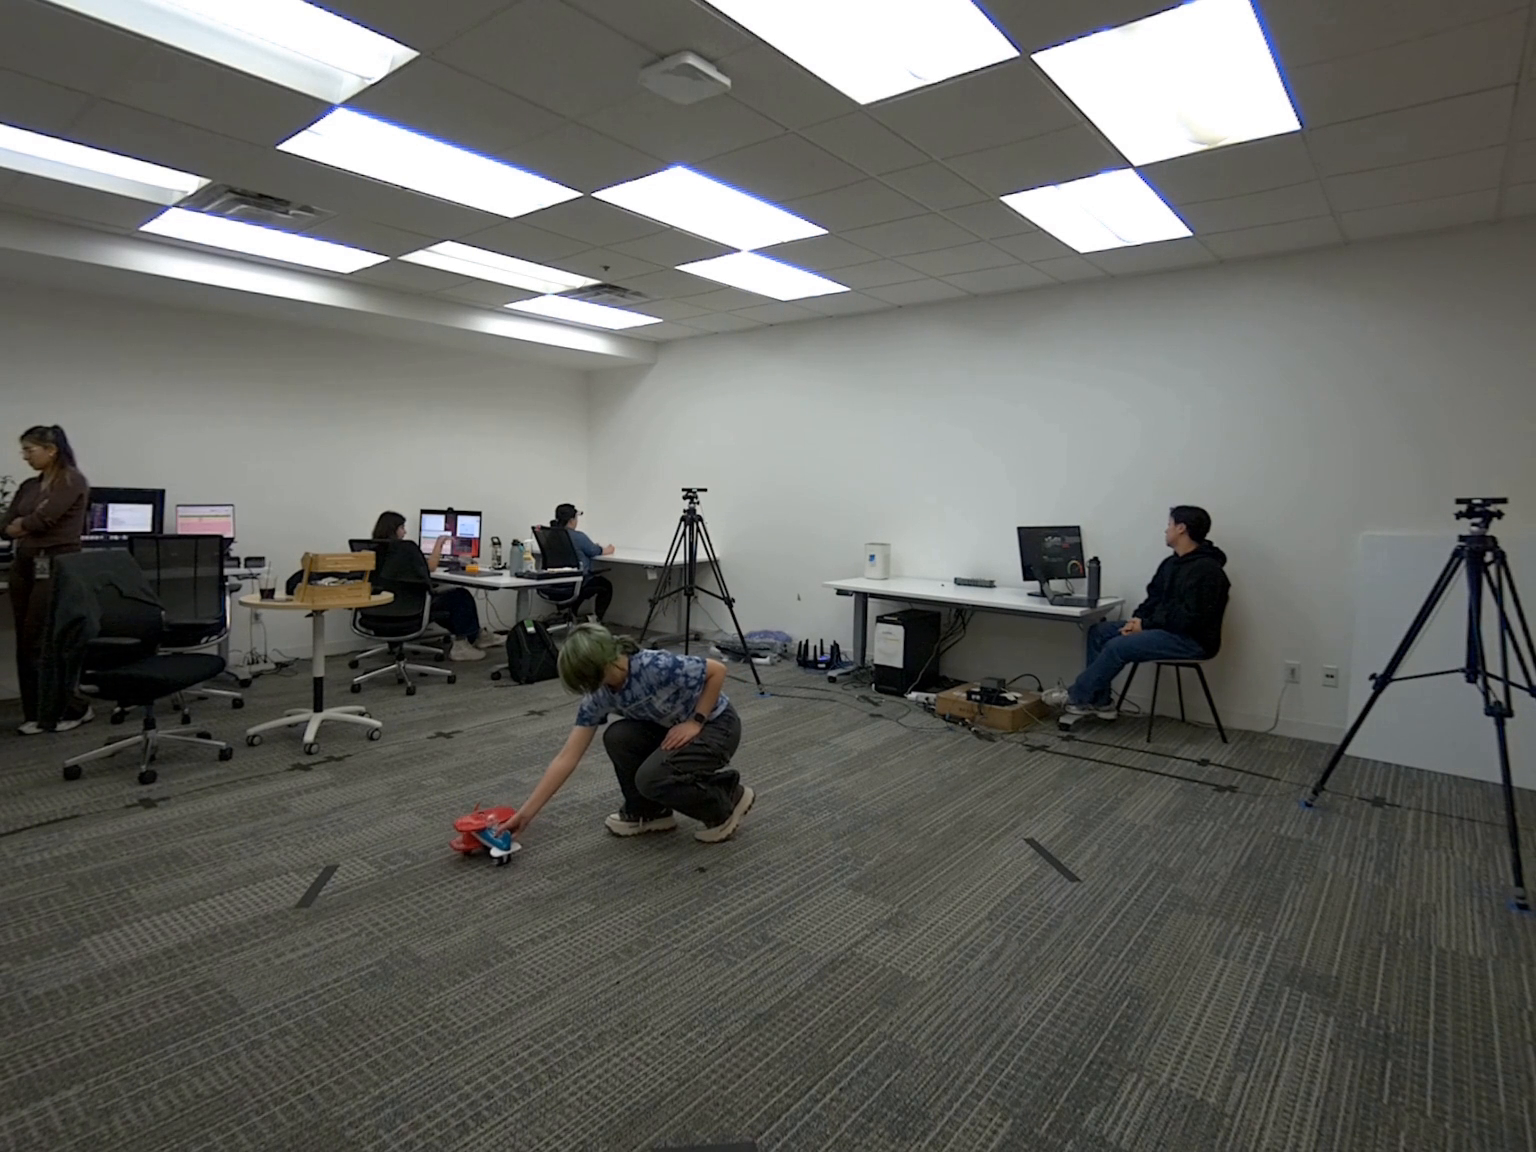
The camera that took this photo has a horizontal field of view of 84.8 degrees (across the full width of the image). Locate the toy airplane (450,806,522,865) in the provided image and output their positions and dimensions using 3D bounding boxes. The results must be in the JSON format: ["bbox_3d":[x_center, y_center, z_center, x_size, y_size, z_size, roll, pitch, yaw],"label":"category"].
[{"bbox_3d":[-1.050,0.975,3.200,0.263,0.156,0.248,1,3,12],"label":"toy airplane"}]
